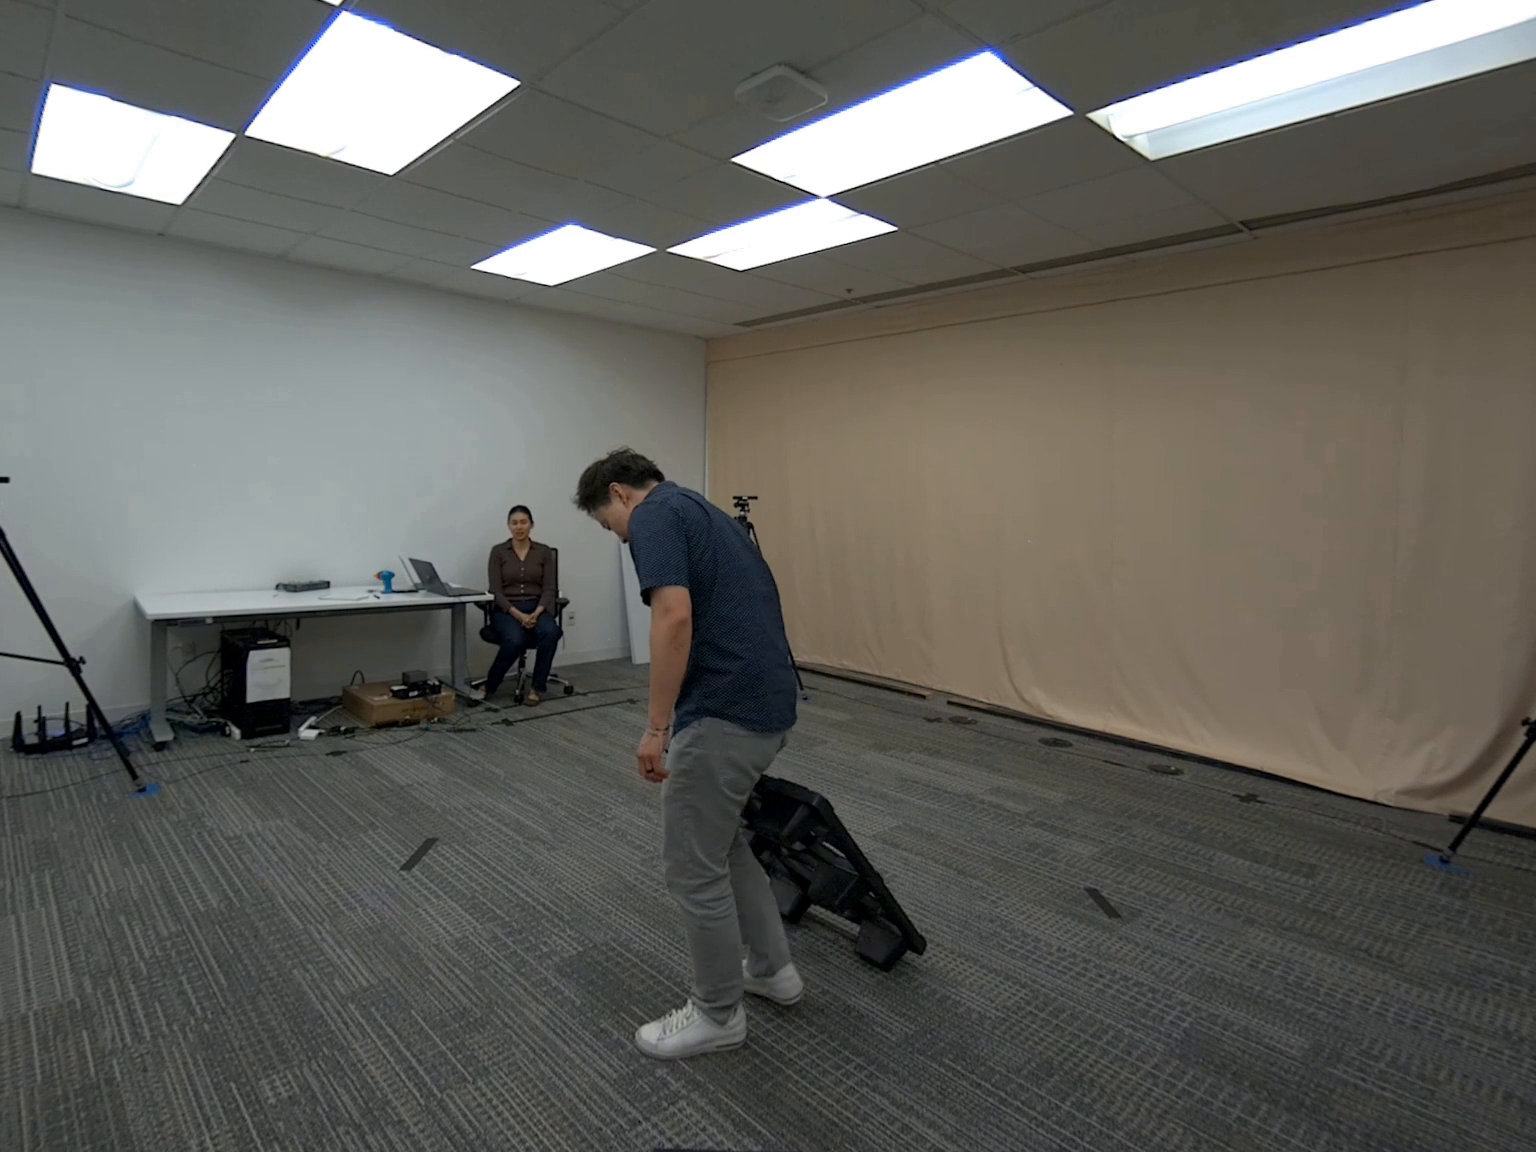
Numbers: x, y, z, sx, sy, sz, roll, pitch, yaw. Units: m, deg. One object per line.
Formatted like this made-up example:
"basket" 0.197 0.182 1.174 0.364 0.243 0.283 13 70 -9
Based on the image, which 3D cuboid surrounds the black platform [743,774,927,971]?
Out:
"black platform" 0.063 0.849 2.497 0.621 0.783 0.143 8 49 45
